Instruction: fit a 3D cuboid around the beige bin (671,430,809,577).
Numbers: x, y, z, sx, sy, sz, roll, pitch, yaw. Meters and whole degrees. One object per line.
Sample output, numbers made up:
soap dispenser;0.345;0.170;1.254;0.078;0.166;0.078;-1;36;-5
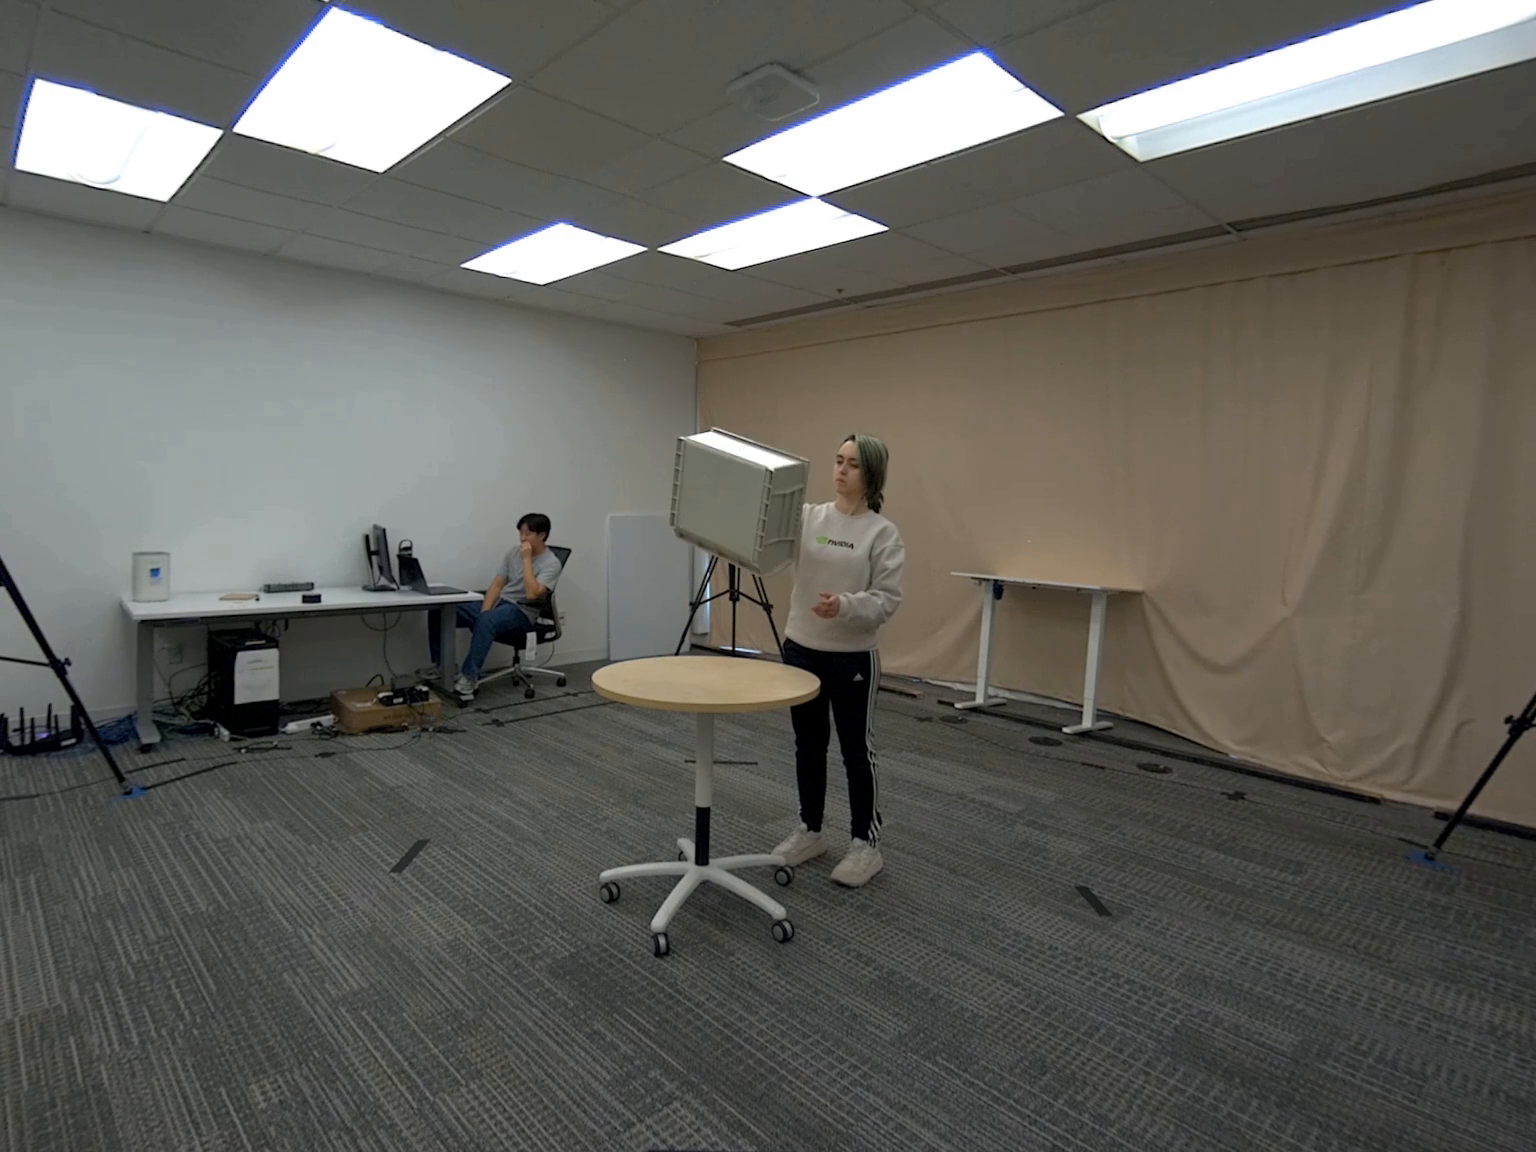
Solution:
beige bin;-0.117;-0.239;2.768;0.435;0.372;0.186;26;28;35
